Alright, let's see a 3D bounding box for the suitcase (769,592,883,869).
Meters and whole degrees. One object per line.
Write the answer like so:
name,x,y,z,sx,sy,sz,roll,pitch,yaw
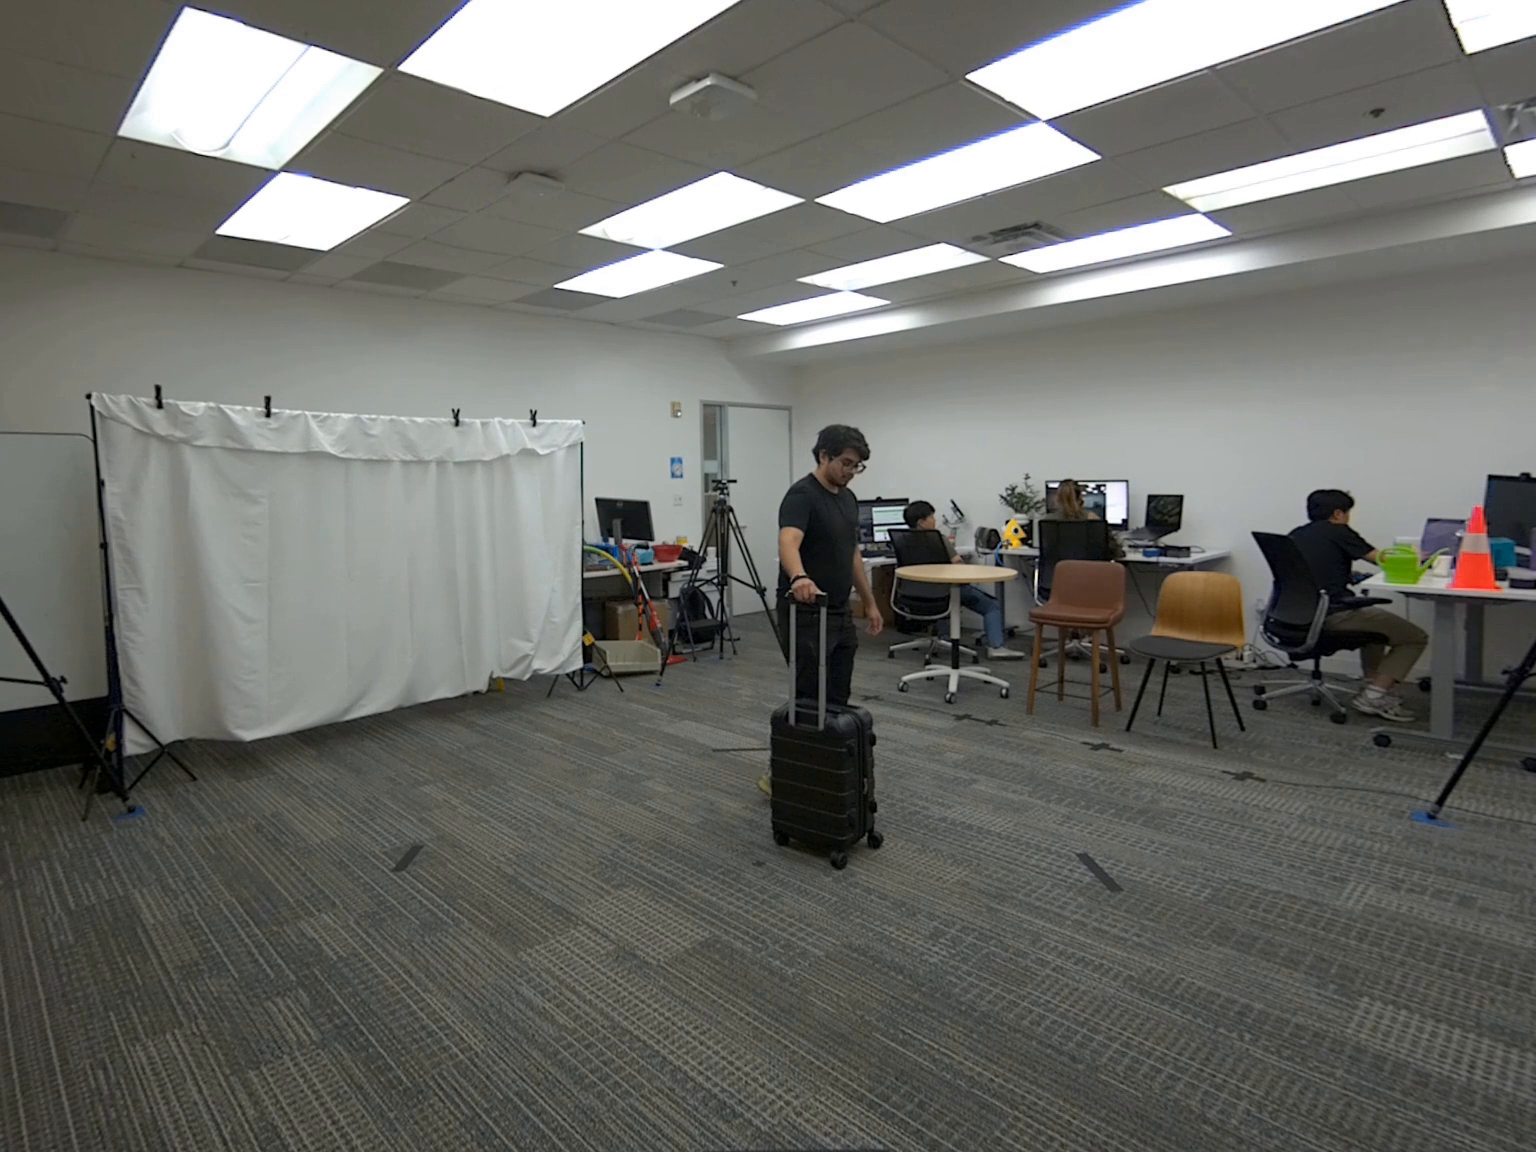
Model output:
suitcase,0.208,0.553,3.238,0.395,0.977,0.250,2,3,39
